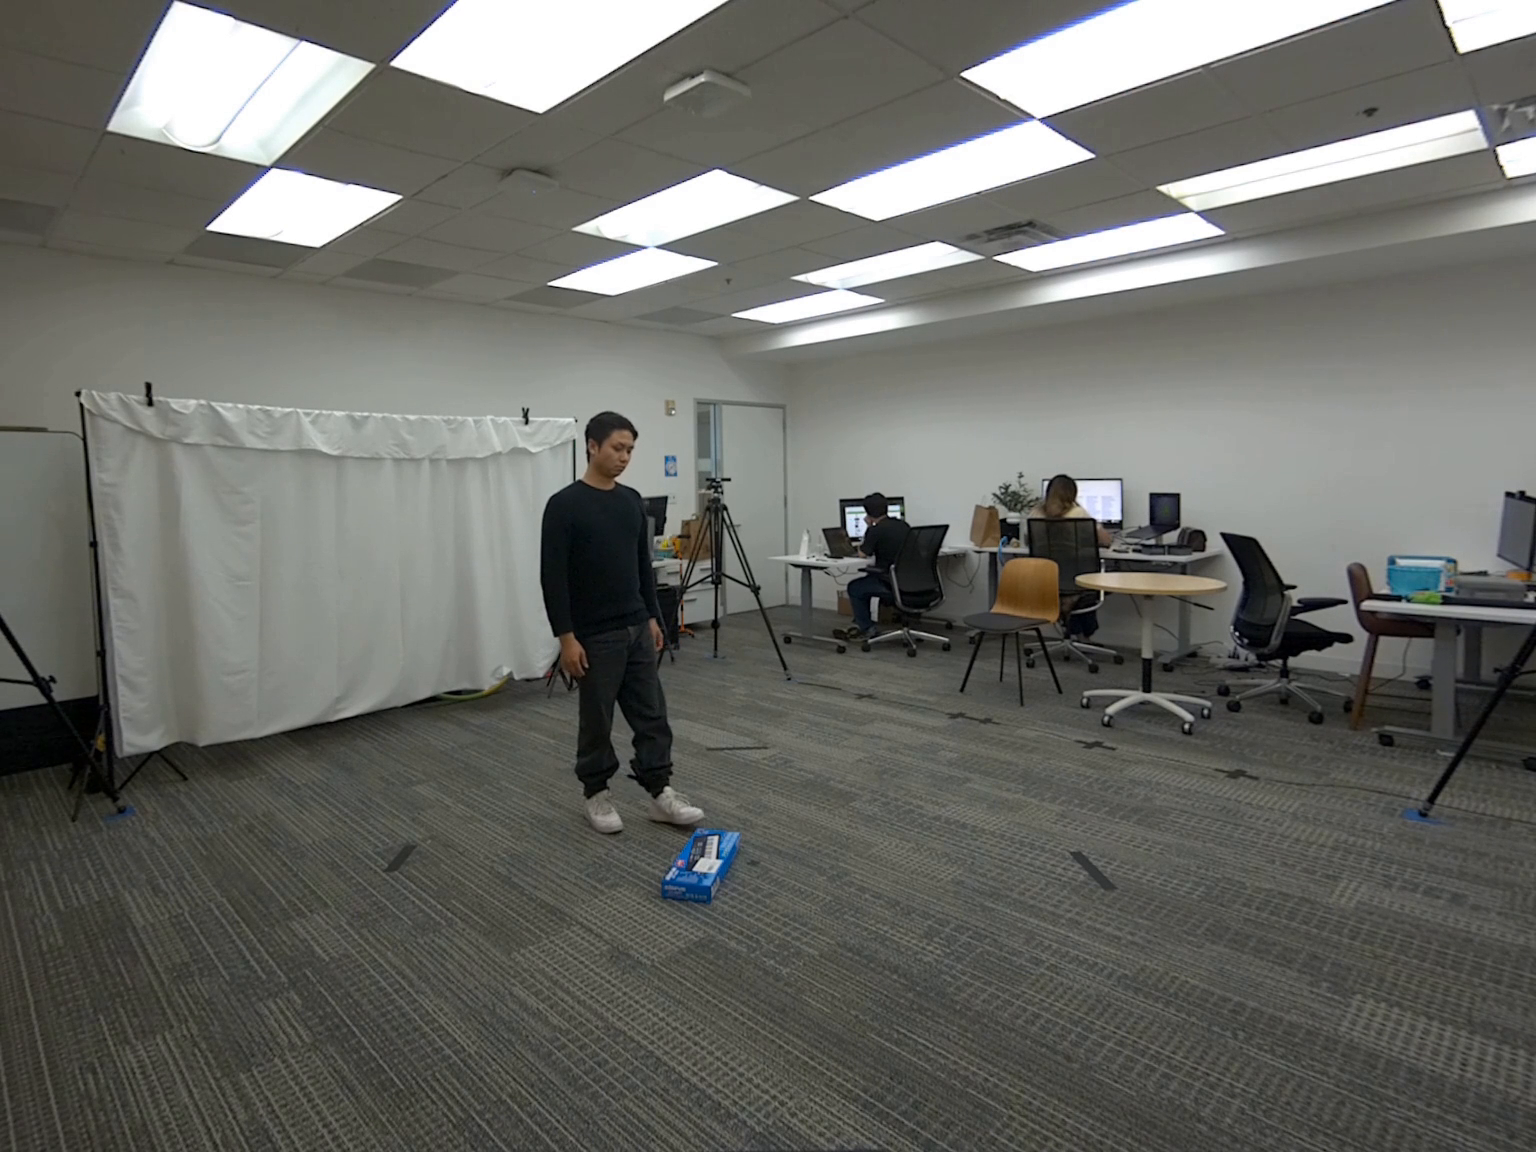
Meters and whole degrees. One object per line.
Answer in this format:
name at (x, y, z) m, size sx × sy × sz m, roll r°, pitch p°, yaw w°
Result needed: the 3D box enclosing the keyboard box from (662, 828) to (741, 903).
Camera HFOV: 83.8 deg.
keyboard box at (-0.226, 1.021, 3.045) m, size 0.178 × 0.059 × 0.433 m, roll 1°, pitch 7°, yaw 12°
